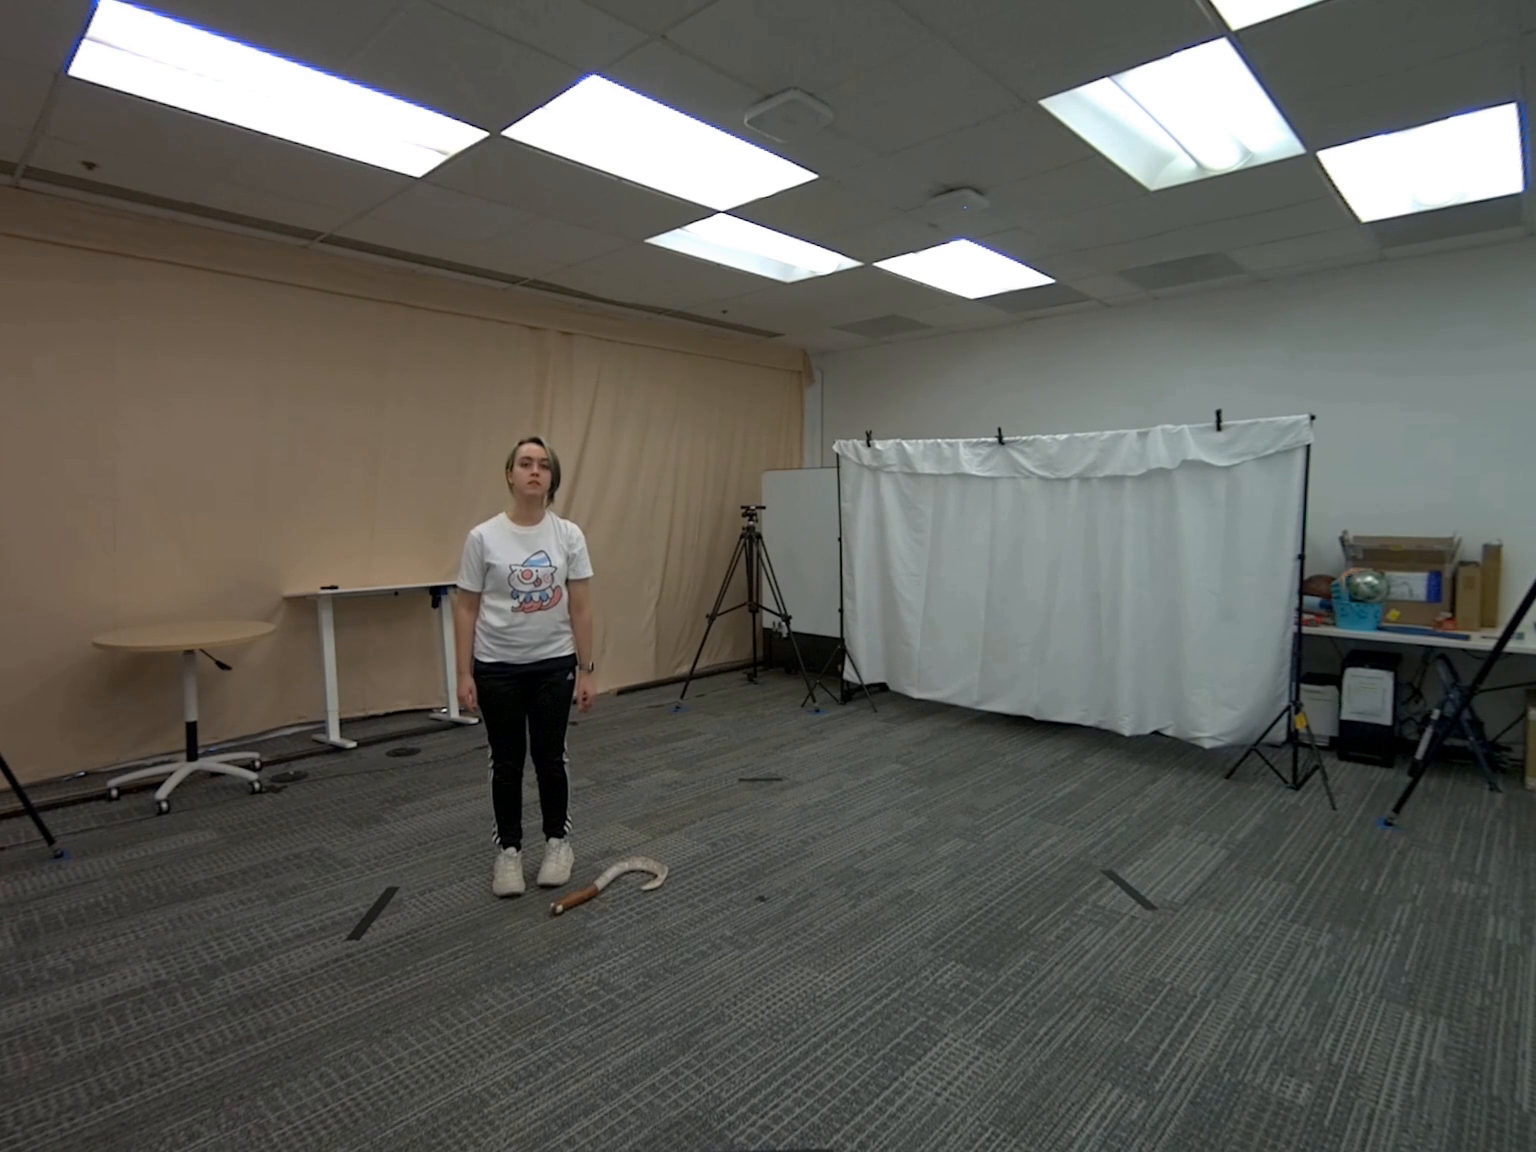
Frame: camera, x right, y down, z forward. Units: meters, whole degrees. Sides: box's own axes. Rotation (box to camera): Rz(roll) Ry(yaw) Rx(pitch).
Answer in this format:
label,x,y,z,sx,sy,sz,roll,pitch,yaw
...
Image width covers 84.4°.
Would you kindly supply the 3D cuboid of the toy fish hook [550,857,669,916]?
label,x,y,z,sx,sy,sz,roll,pitch,yaw
toy fish hook,-0.557,1.122,3.034,0.231,0.048,0.492,1,5,33
